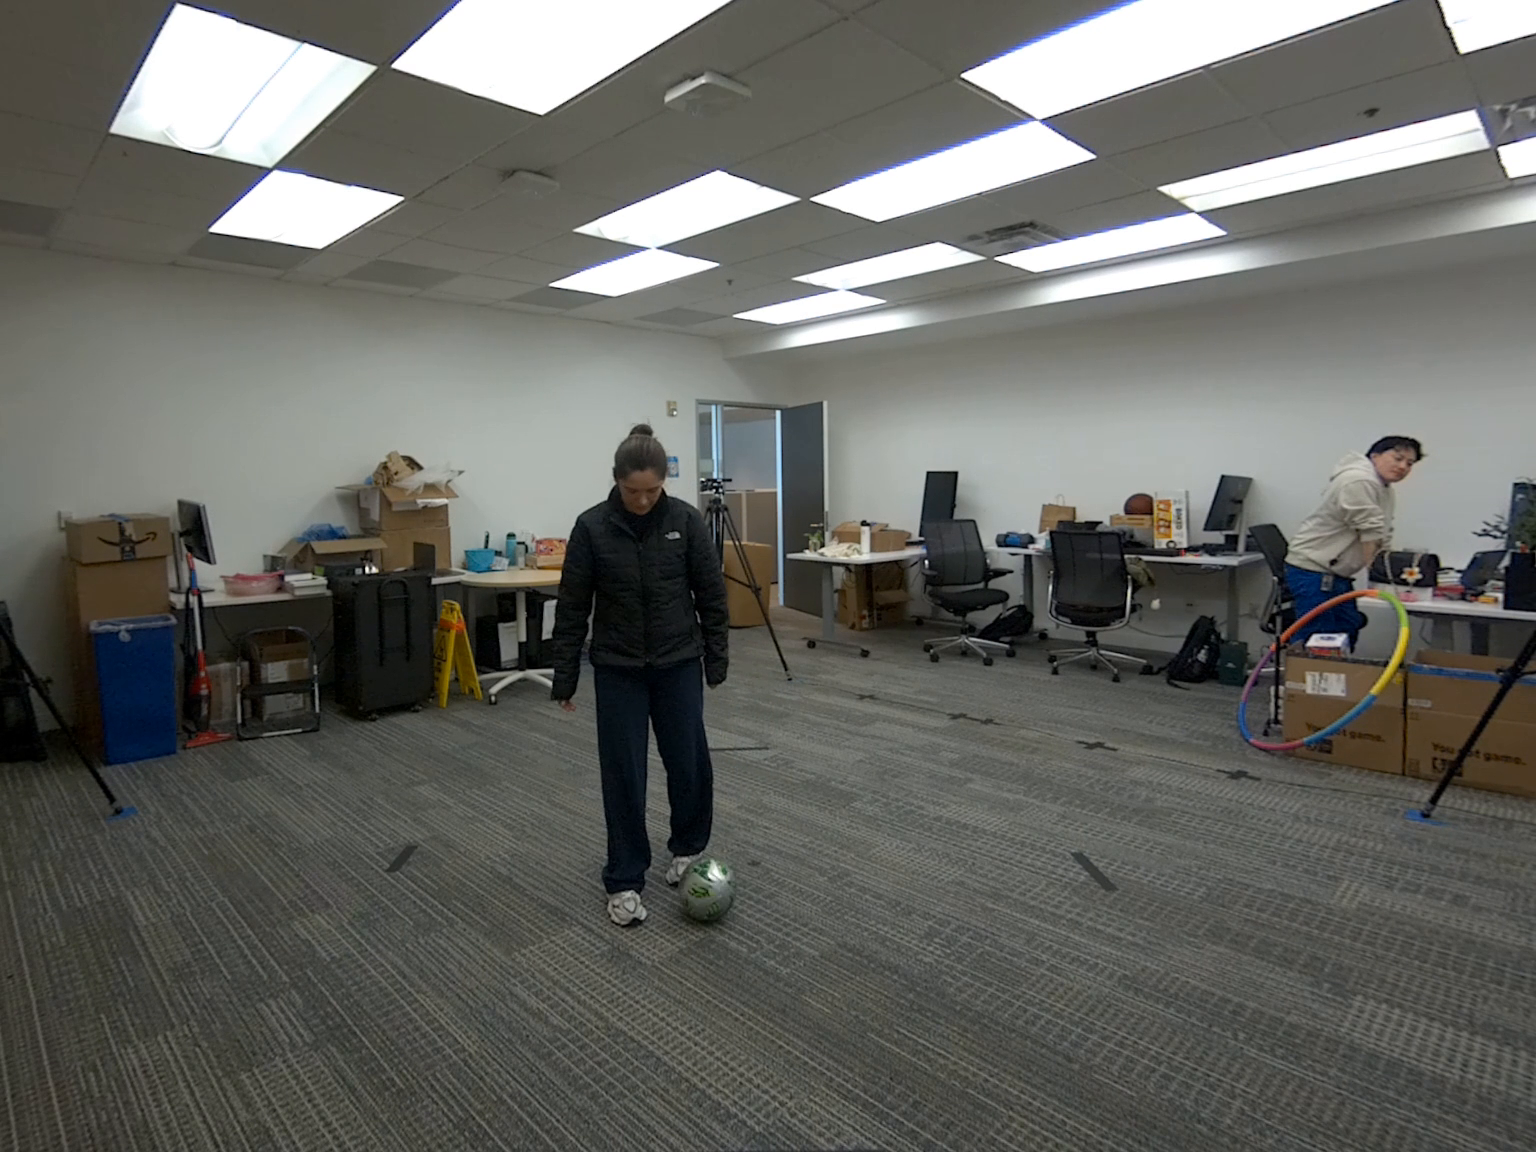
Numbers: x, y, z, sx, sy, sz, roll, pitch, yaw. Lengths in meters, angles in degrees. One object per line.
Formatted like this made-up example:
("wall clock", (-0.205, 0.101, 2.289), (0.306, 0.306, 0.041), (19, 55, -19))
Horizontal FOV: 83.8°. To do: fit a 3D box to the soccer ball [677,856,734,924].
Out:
("soccer ball", (-0.191, 0.993, 2.721), (0.187, 0.187, 0.188), (-1, 5, -2))
